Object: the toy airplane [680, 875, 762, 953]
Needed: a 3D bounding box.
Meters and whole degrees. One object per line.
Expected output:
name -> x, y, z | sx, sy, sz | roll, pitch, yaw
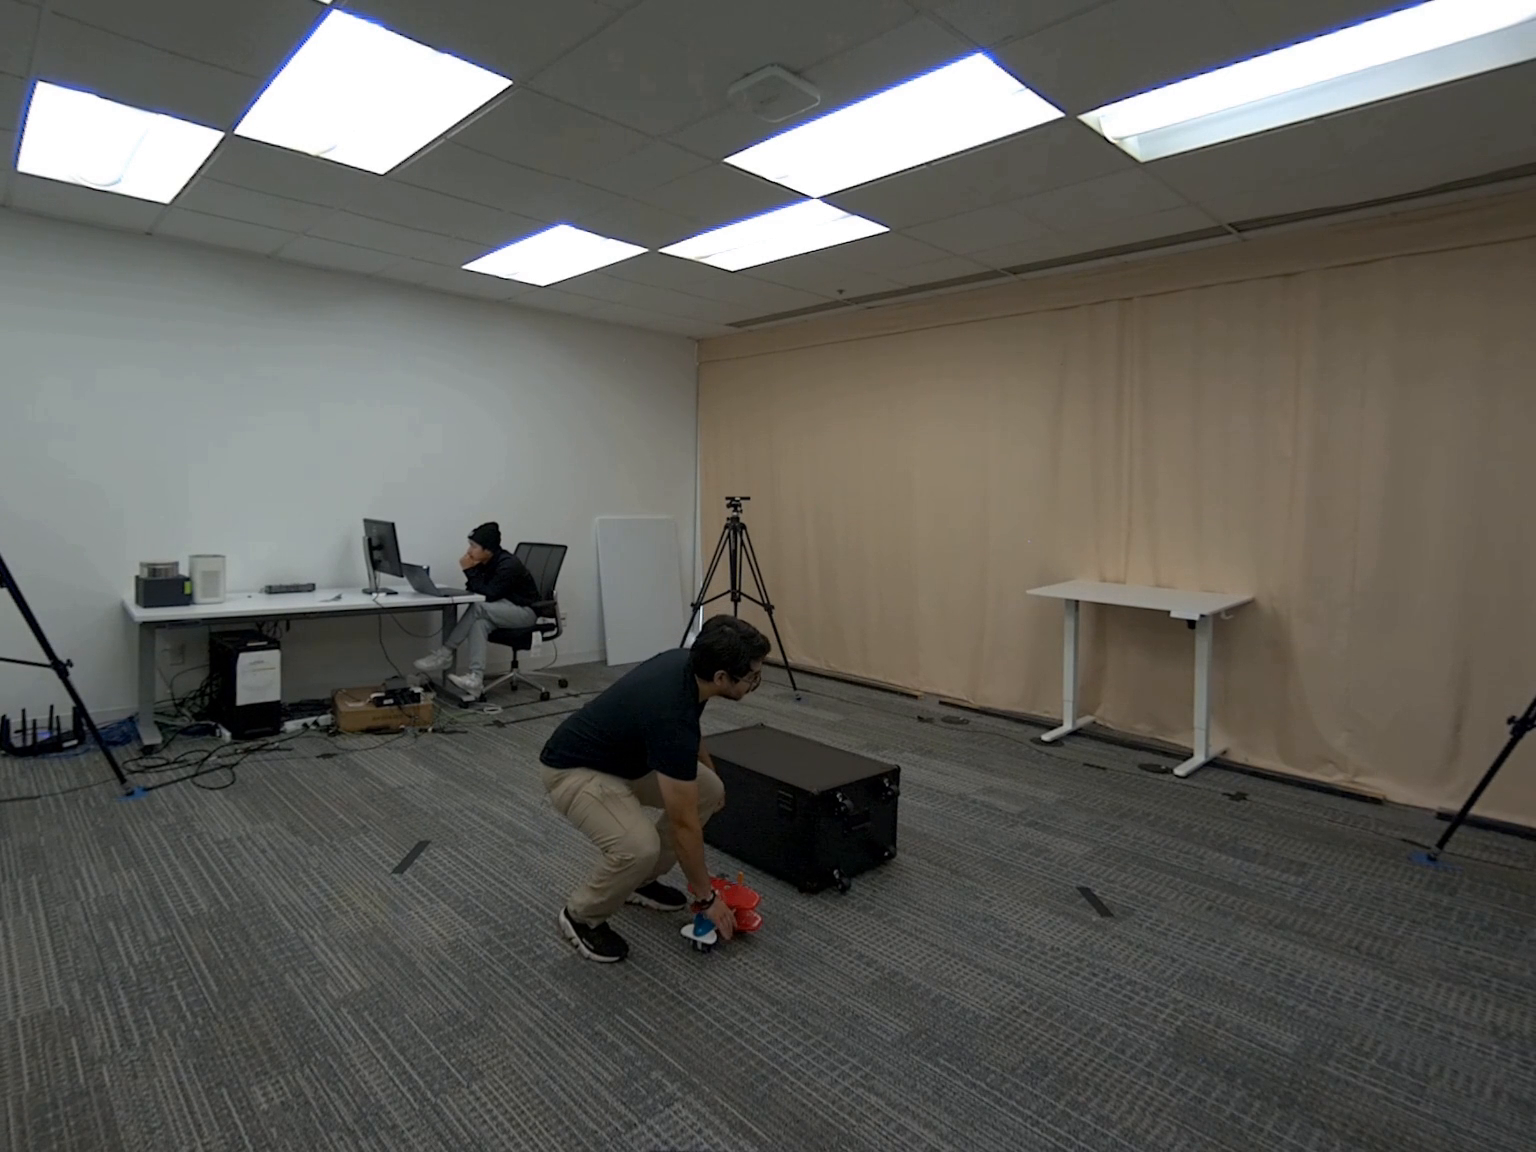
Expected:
toy airplane -> -0.153, 1.074, 2.654 | 0.251, 0.156, 0.259 | 1, 3, 1
